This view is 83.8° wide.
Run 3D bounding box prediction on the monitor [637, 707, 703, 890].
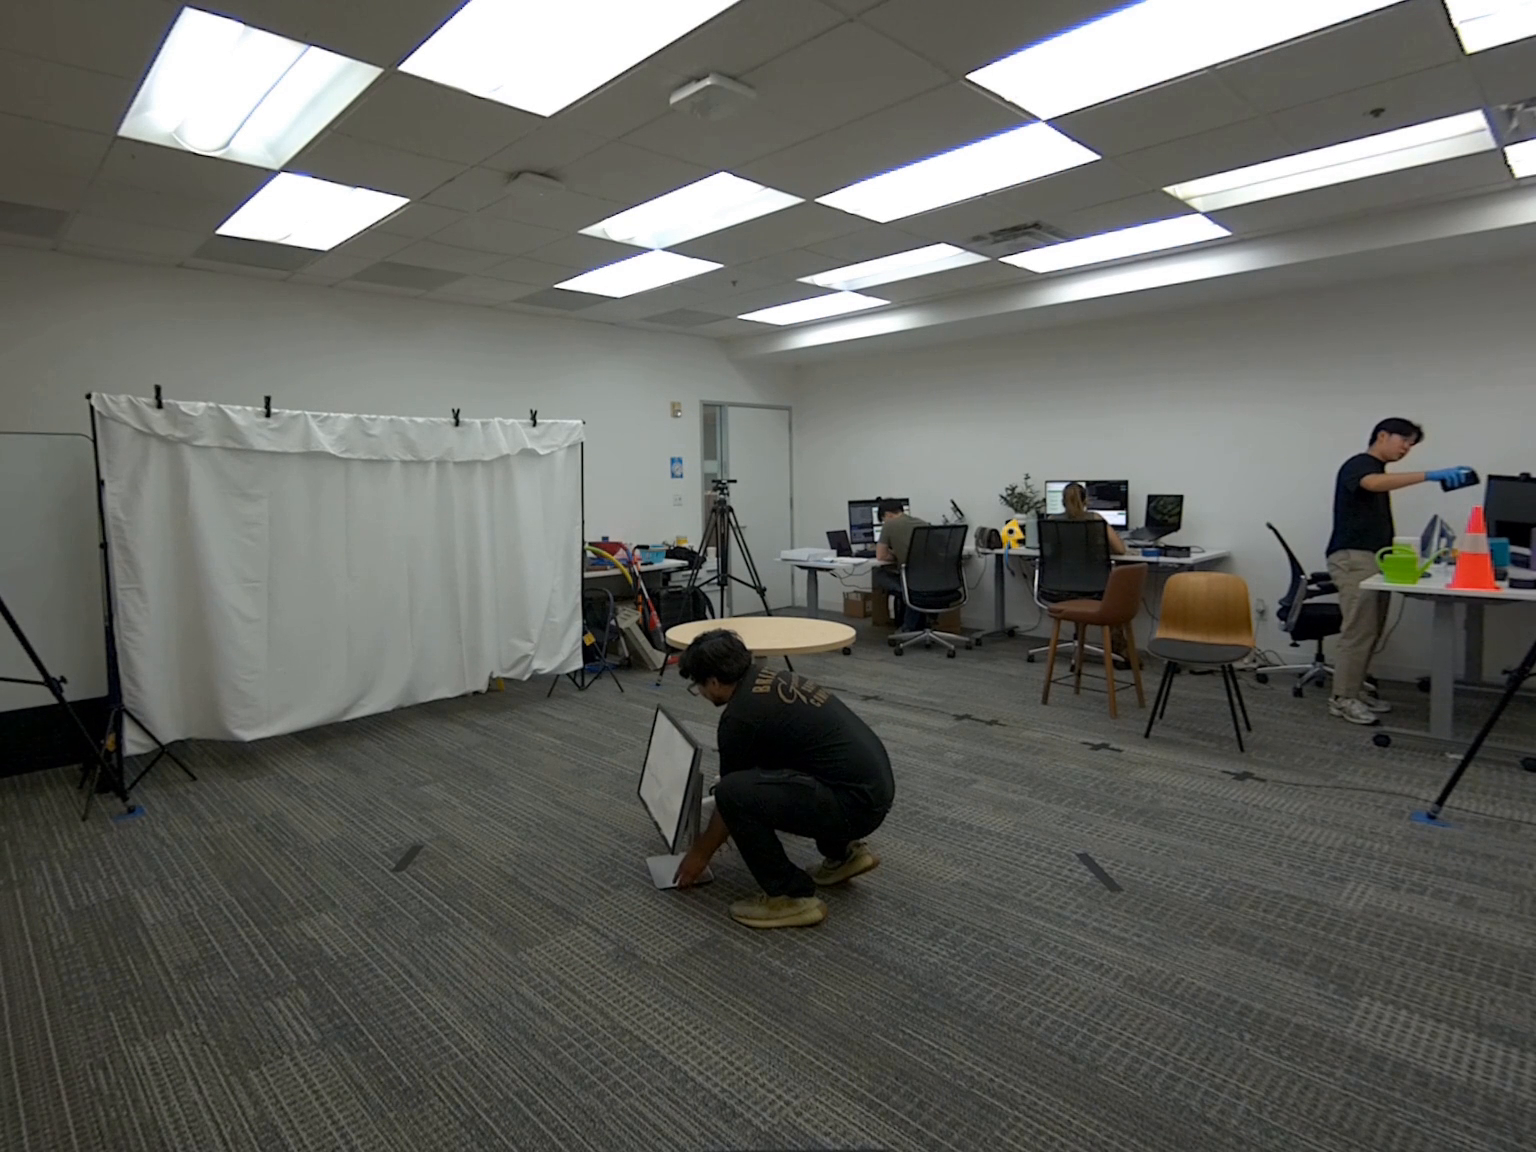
[{"bbox_3d":[-0.294,0.786,3.045,0.206,0.553,0.578,4,3,-21],"label":"monitor"}]
